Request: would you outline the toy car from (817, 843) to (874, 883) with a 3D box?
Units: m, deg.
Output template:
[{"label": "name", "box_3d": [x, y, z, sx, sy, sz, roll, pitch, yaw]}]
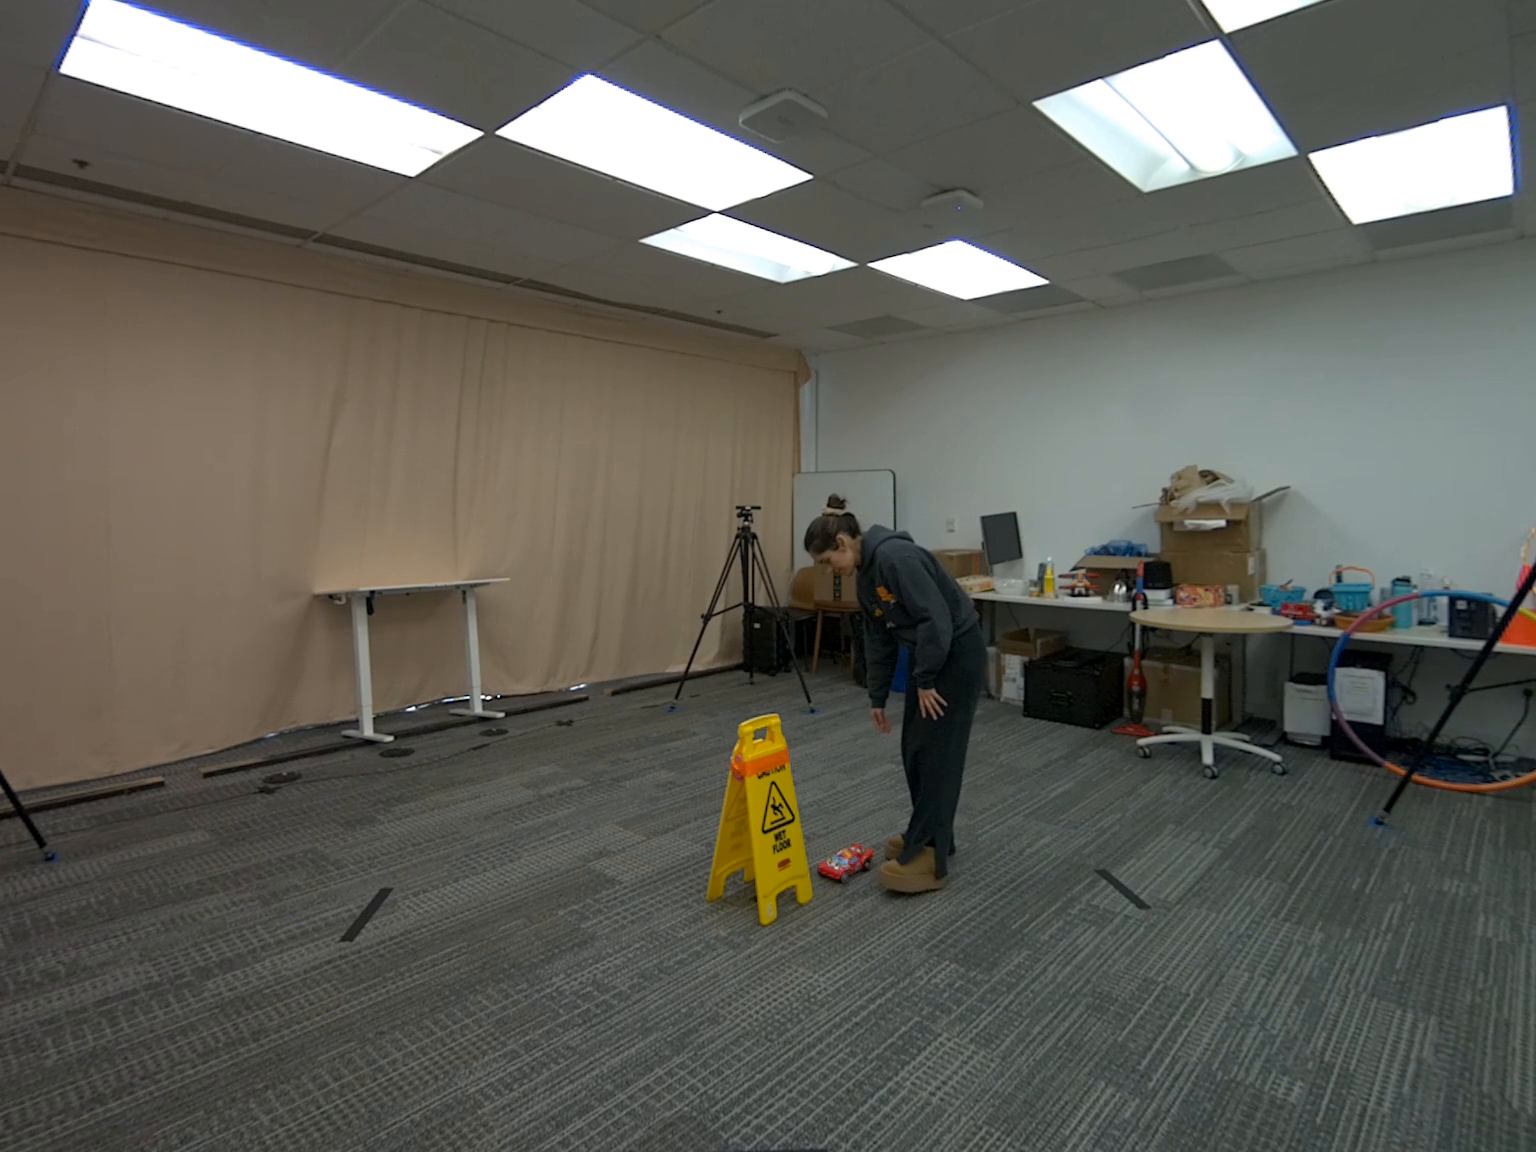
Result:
[{"label": "toy car", "box_3d": [0.327, 1.086, 3.206, 0.134, 0.082, 0.248, 3, 16, 44]}]
